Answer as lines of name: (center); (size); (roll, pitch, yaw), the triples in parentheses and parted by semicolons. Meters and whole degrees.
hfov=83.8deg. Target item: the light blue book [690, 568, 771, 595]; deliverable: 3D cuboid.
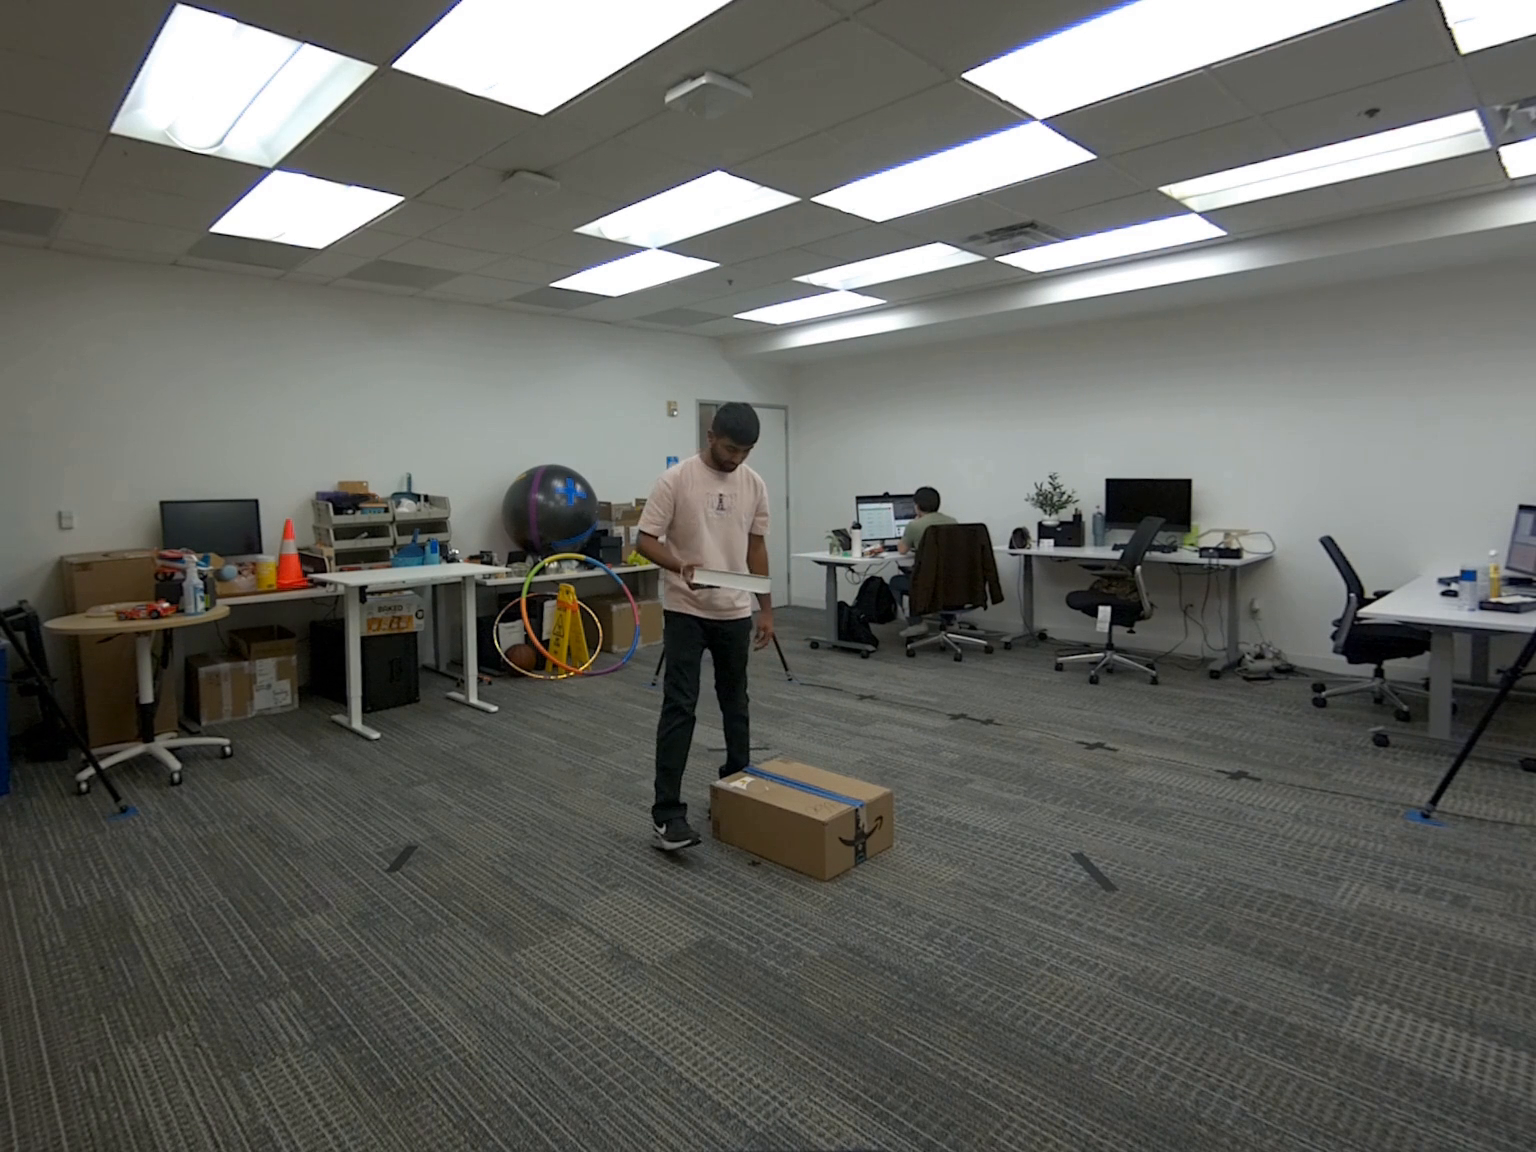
light blue book: (-0.152, 0.022, 3.127); (0.262, 0.059, 0.190); (8, -2, 3)
